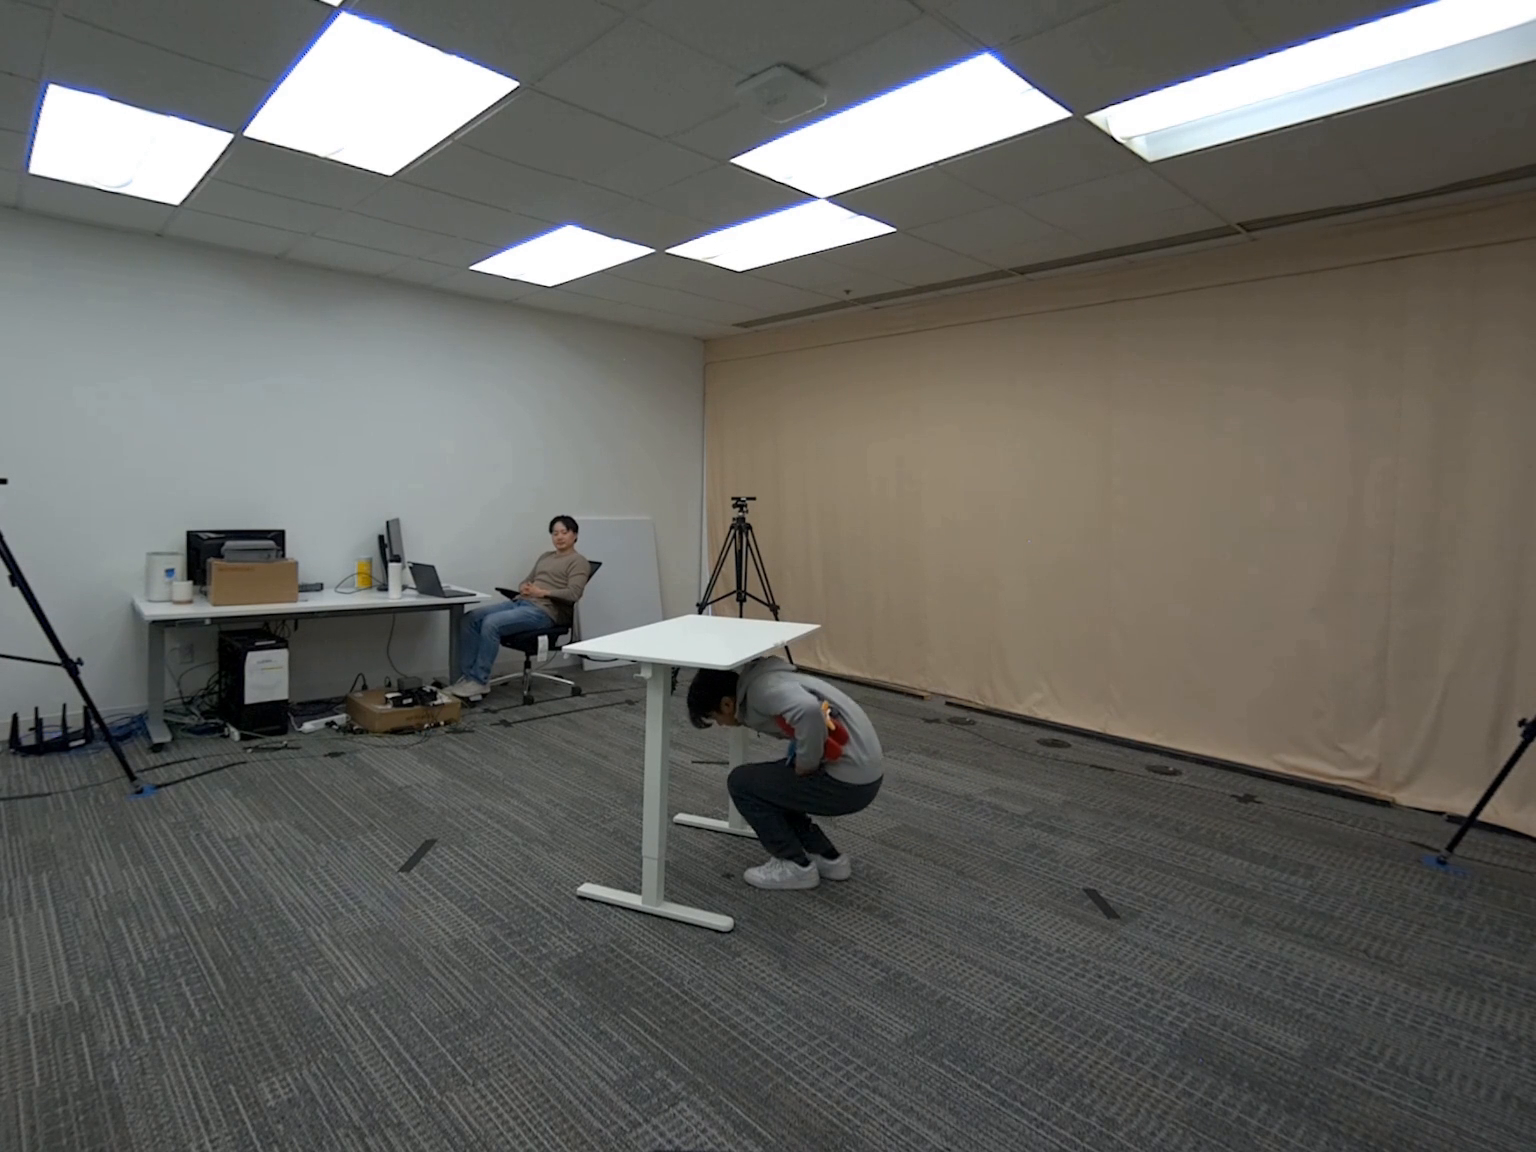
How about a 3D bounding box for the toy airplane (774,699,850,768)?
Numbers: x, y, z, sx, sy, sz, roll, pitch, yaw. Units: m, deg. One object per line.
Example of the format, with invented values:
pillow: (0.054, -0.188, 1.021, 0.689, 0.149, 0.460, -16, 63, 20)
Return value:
toy airplane: (0.135, 0.556, 2.943, 0.154, 0.253, 0.260, 3, -10, -17)
